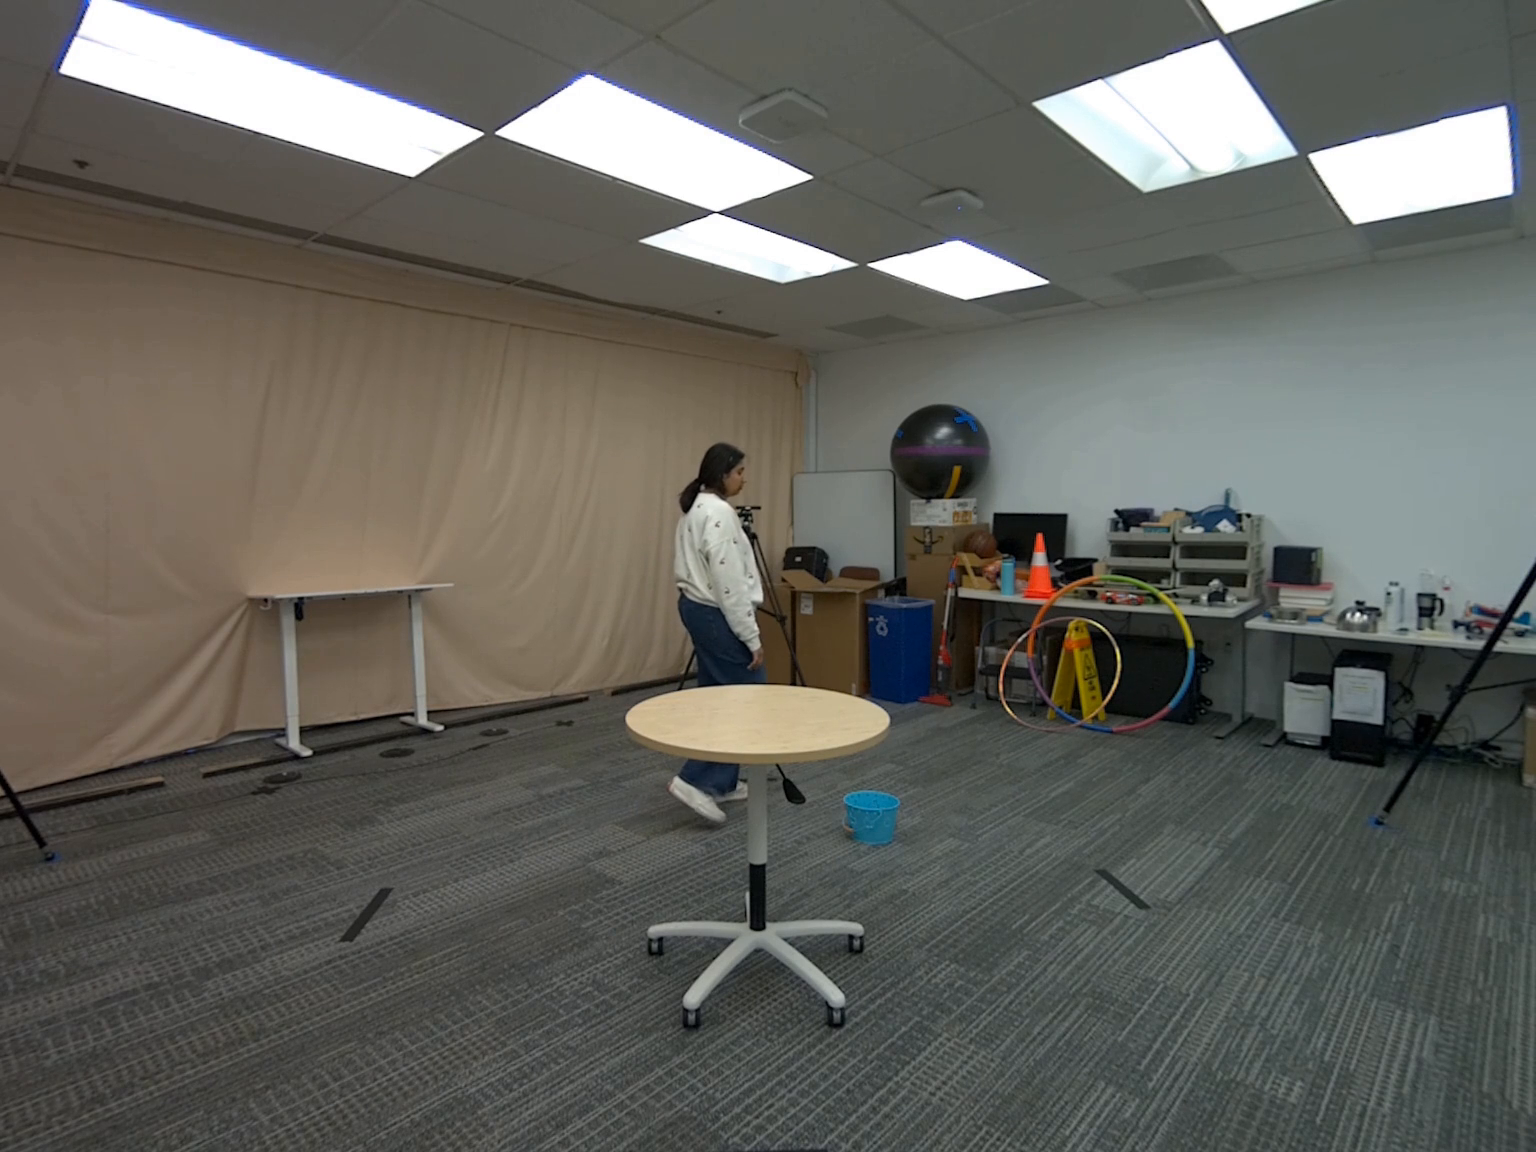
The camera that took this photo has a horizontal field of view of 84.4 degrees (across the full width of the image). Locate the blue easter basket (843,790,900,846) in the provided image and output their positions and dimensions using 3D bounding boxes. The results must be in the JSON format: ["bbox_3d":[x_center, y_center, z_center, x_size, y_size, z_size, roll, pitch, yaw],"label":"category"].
[{"bbox_3d":[0.429,1.013,3.557,0.243,0.155,0.244,1,4,-2],"label":"blue easter basket"}]
